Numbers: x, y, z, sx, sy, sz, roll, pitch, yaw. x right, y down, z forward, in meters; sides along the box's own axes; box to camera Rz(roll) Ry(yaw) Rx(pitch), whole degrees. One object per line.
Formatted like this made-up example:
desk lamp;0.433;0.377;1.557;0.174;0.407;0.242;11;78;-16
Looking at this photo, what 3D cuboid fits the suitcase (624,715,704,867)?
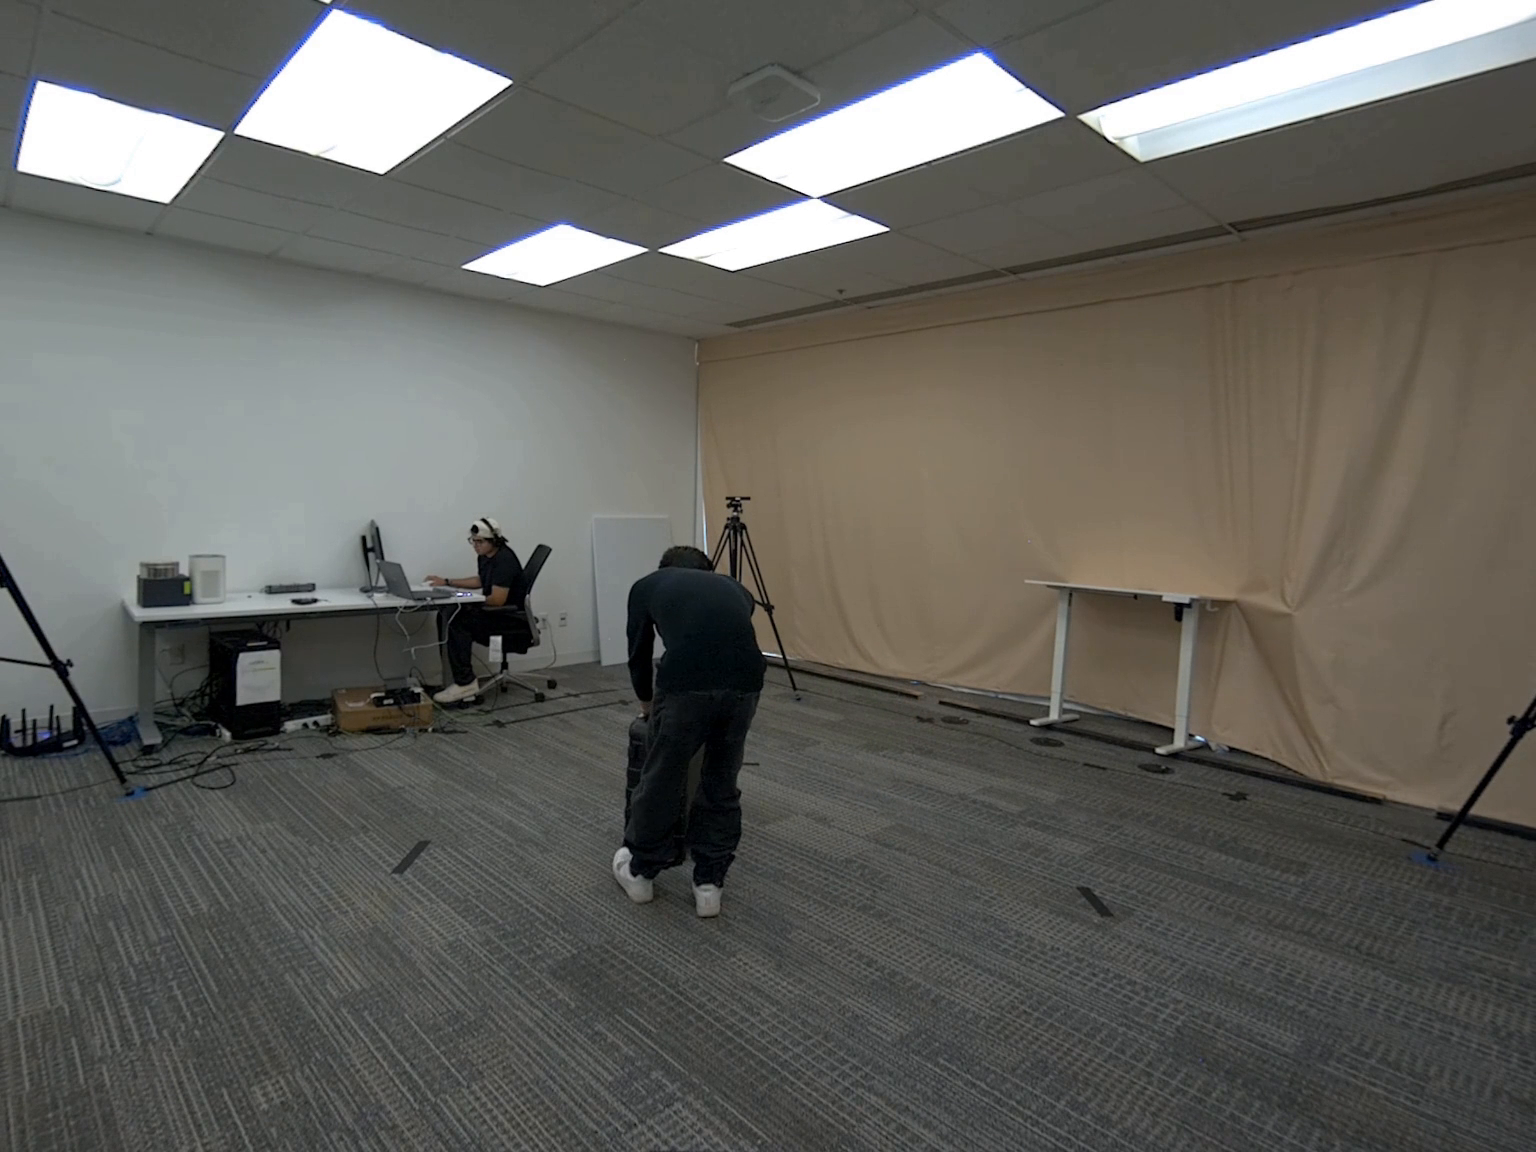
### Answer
suitcase;-0.415;0.802;3.379;0.251;0.548;0.373;4;5;11
